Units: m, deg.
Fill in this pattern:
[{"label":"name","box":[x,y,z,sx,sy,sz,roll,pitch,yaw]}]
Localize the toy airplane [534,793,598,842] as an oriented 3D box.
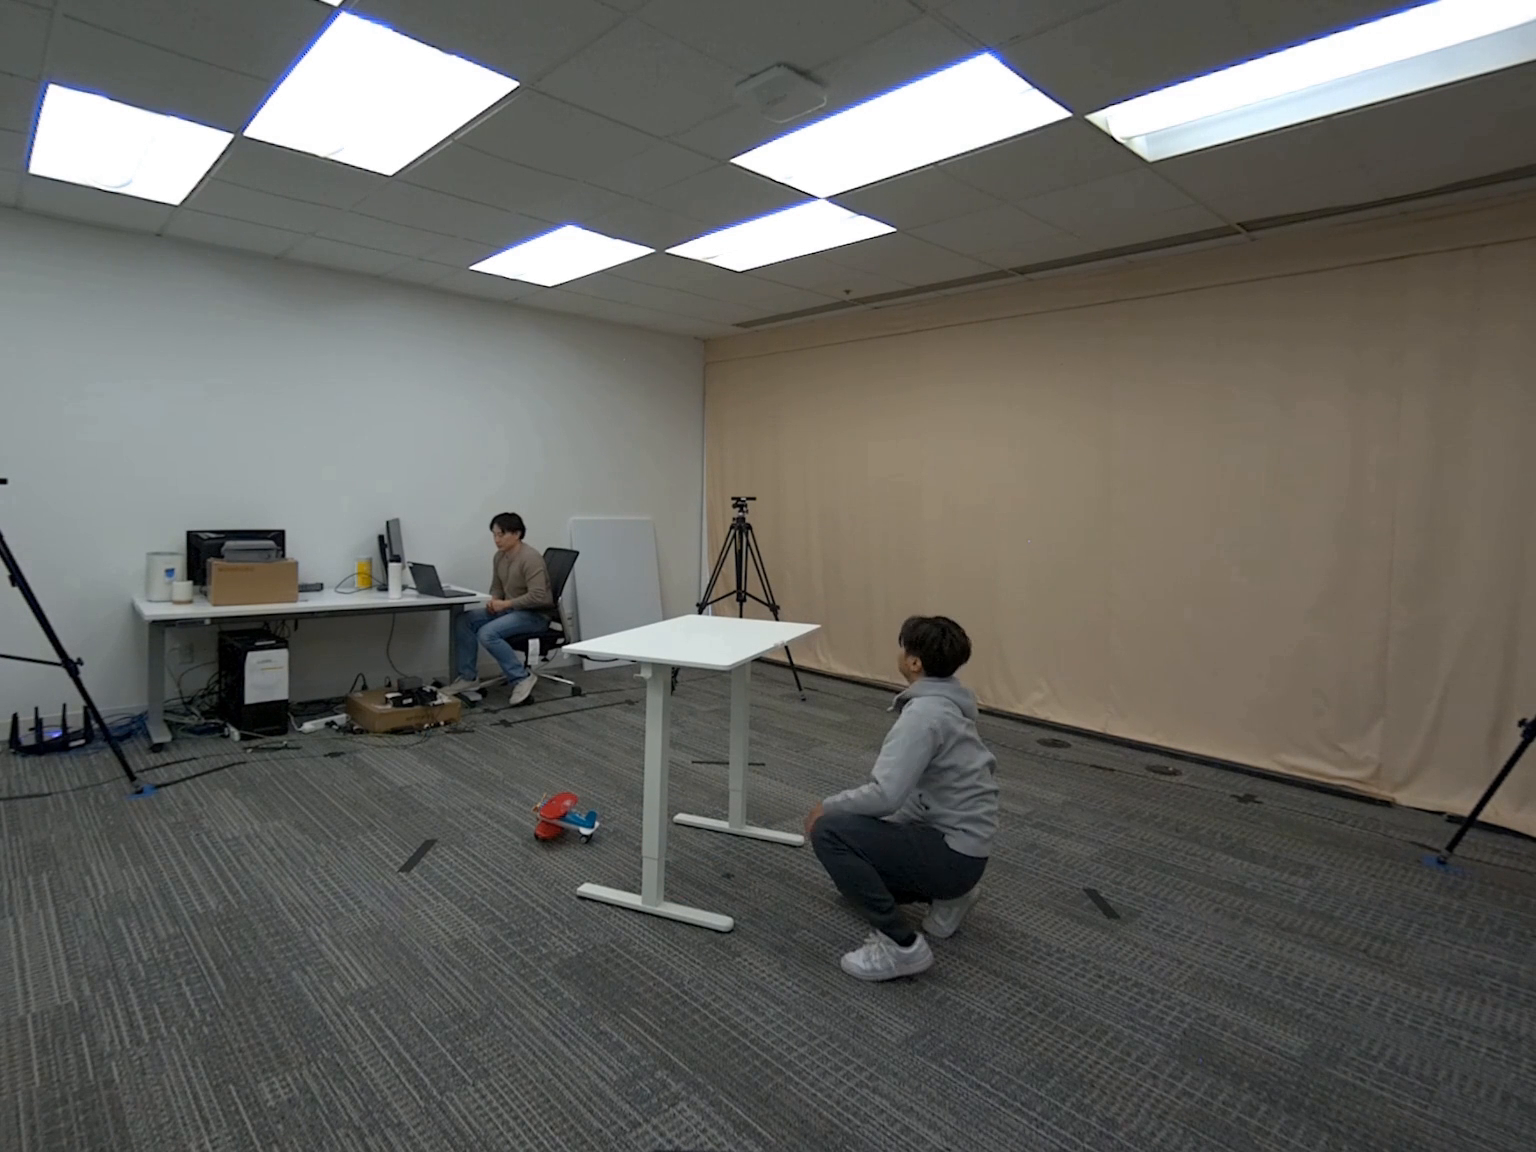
[{"label":"toy airplane","box":[-0.831,0.992,3.422,0.256,0.156,0.255,-1,5,-16]}]
